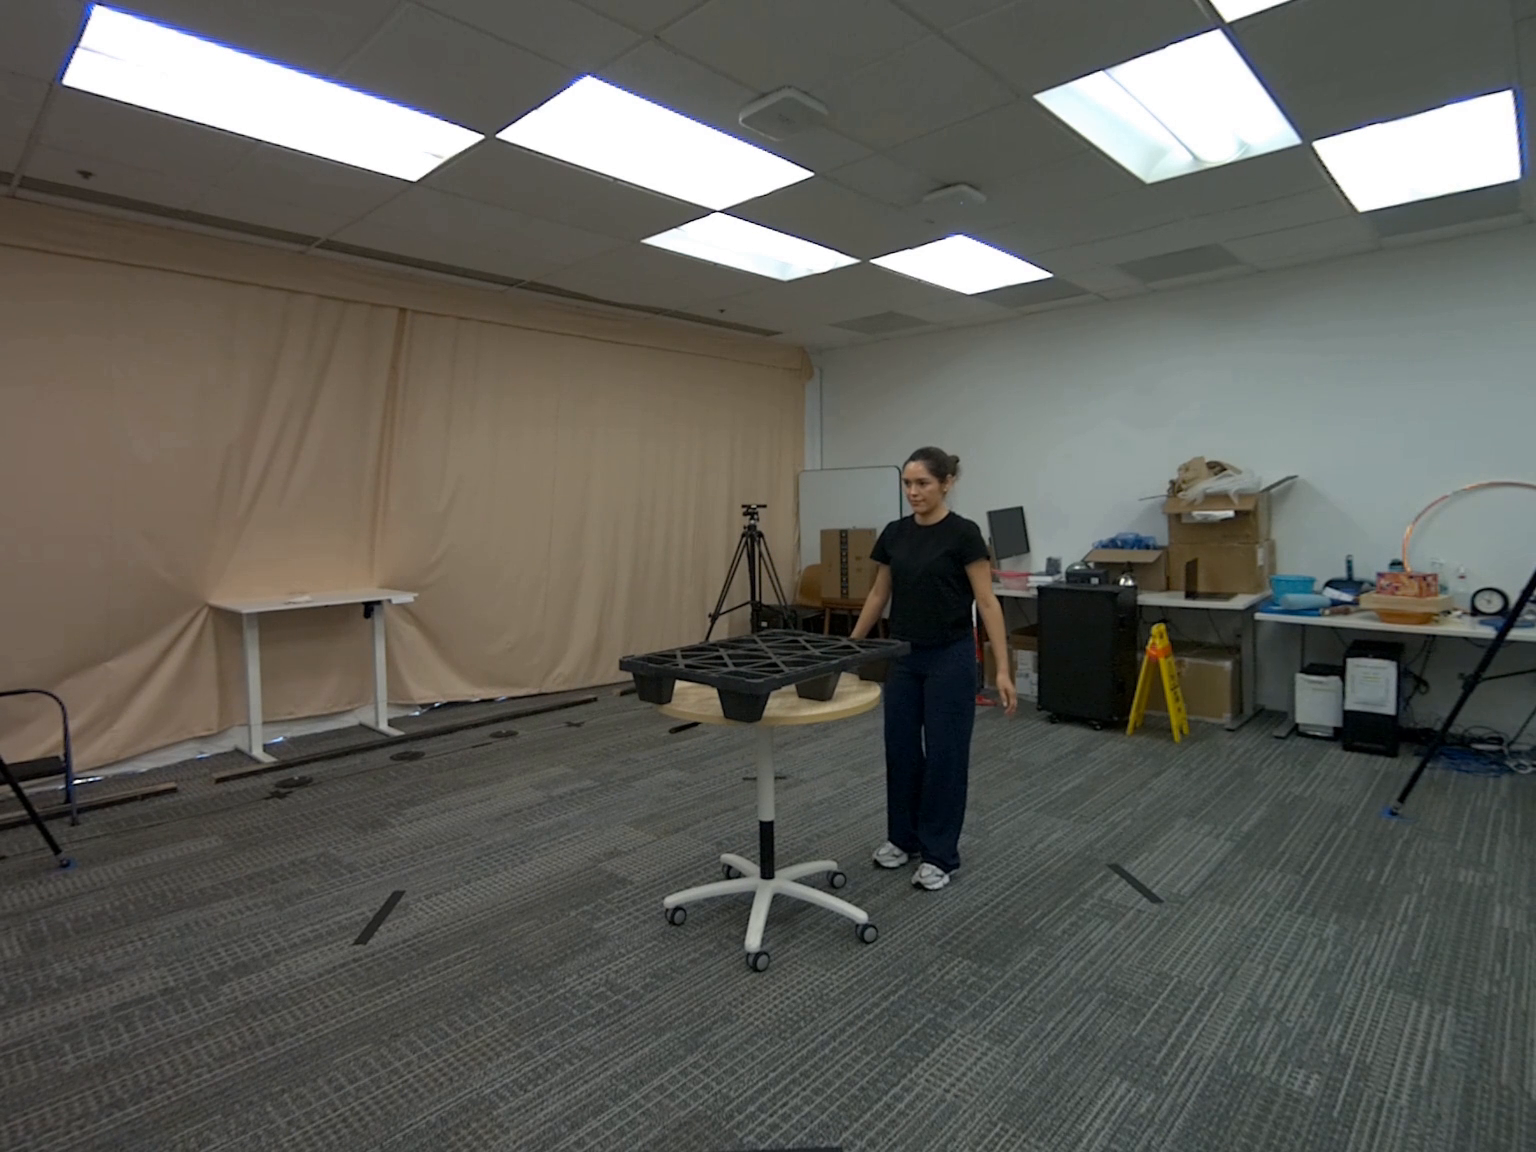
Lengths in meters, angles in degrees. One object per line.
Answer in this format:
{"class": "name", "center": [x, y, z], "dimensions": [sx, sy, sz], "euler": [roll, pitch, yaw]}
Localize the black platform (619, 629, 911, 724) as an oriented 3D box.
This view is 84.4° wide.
{"class": "black platform", "center": [0.026, 0.312, 2.761], "dimensions": [0.625, 0.143, 0.781], "euler": [3, 7, 42]}
